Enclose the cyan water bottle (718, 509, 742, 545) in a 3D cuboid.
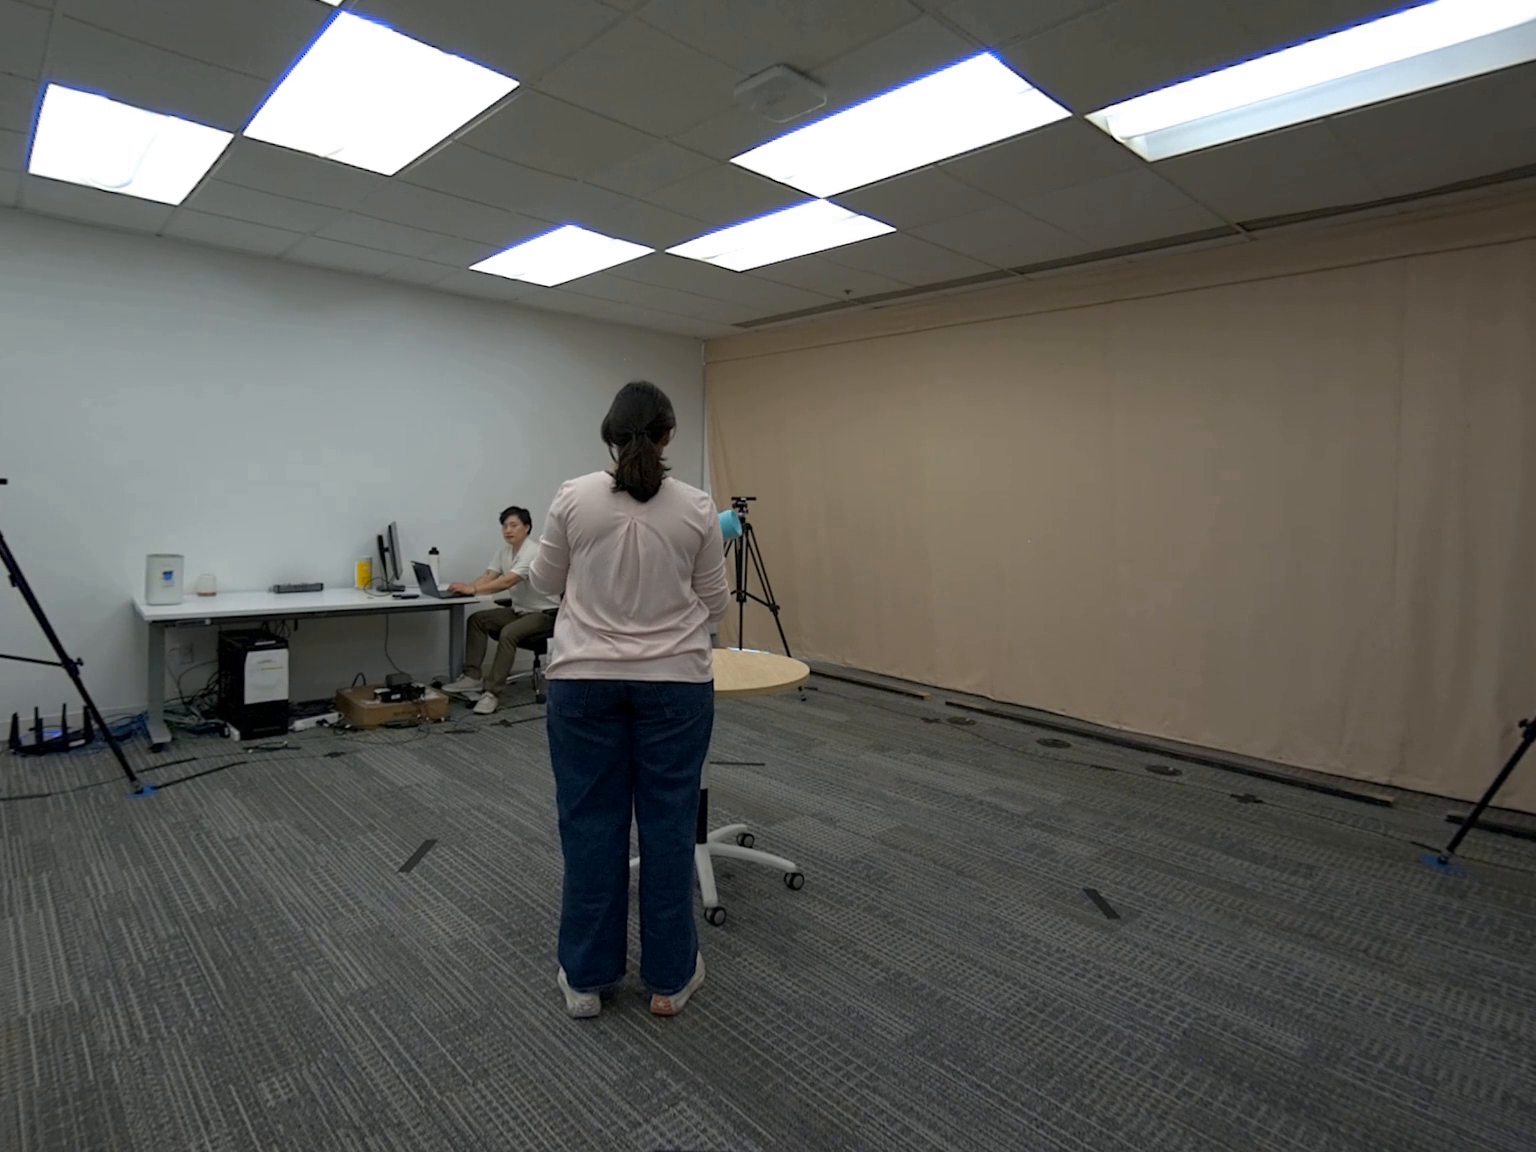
[{"bbox_3d":[-0.233,-0.121,2.647,0.285,0.092,0.091,-20,-2,16],"label":"cyan water bottle"}]
